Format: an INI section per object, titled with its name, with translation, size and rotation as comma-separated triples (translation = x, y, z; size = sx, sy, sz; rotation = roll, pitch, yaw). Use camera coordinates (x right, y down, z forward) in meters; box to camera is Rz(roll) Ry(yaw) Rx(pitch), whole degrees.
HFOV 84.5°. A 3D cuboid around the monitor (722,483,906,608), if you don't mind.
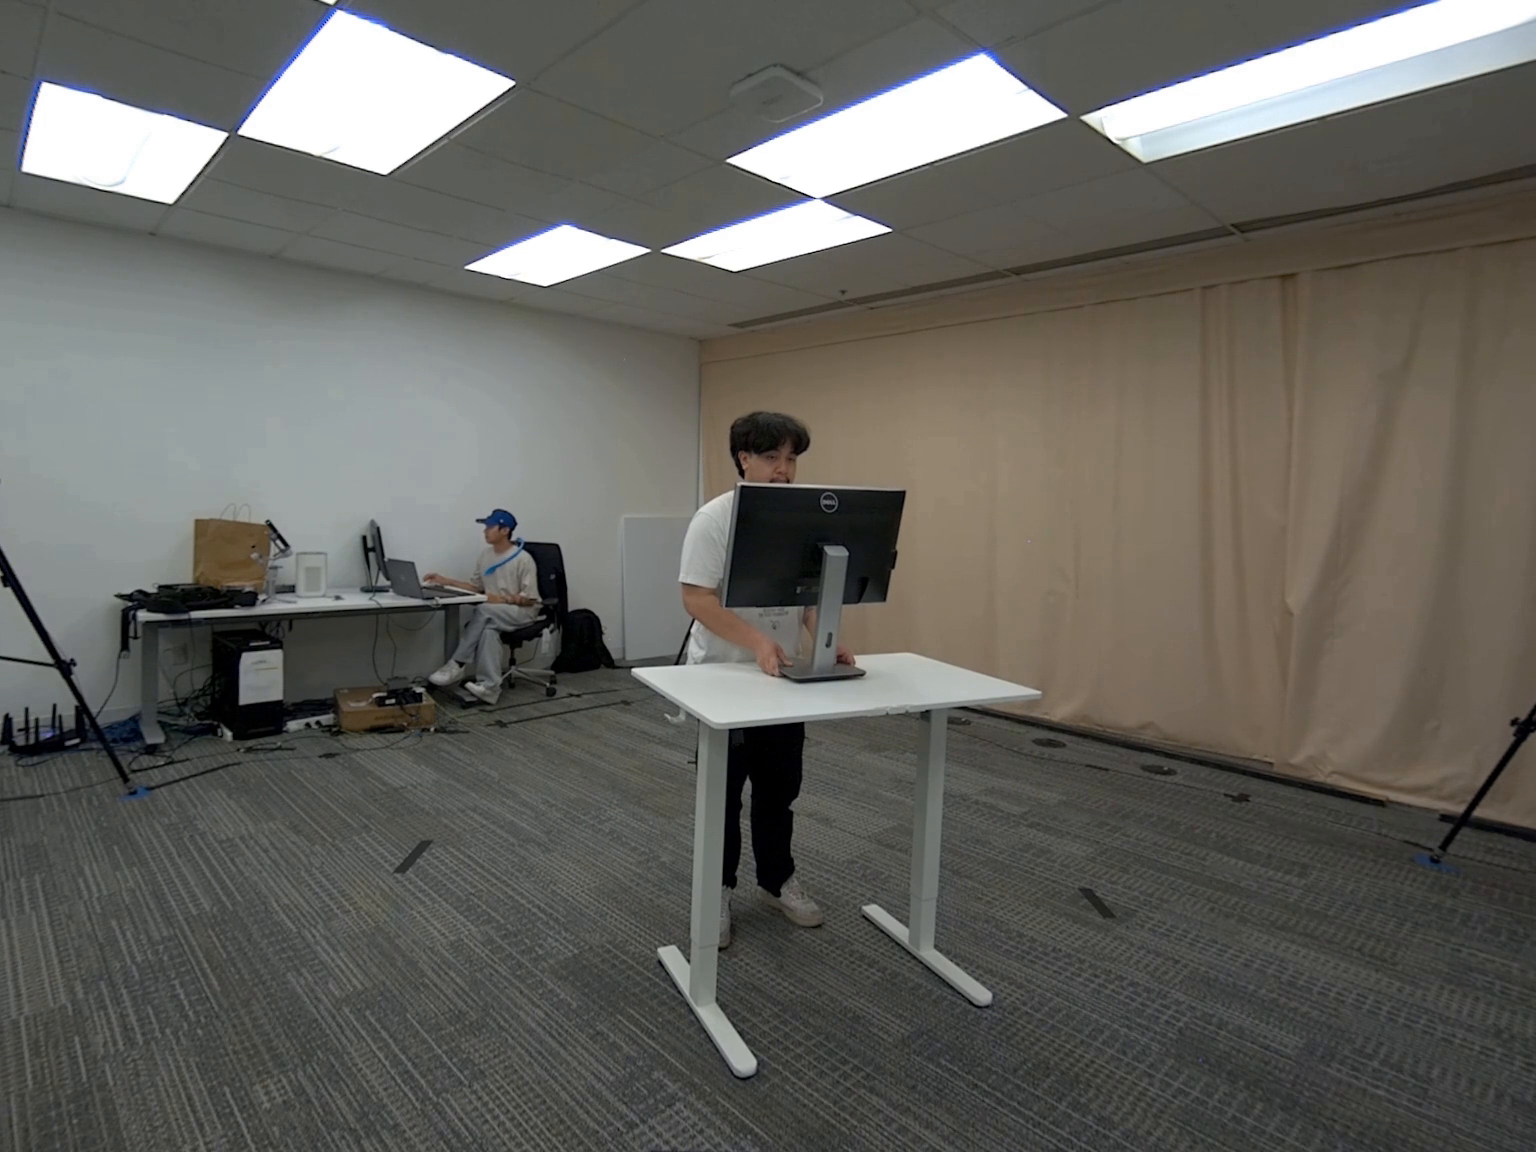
[monitor]
translation = 0.152, 0.019, 2.412
size = 0.554, 0.550, 0.215
rotation = 0, 11, -27
